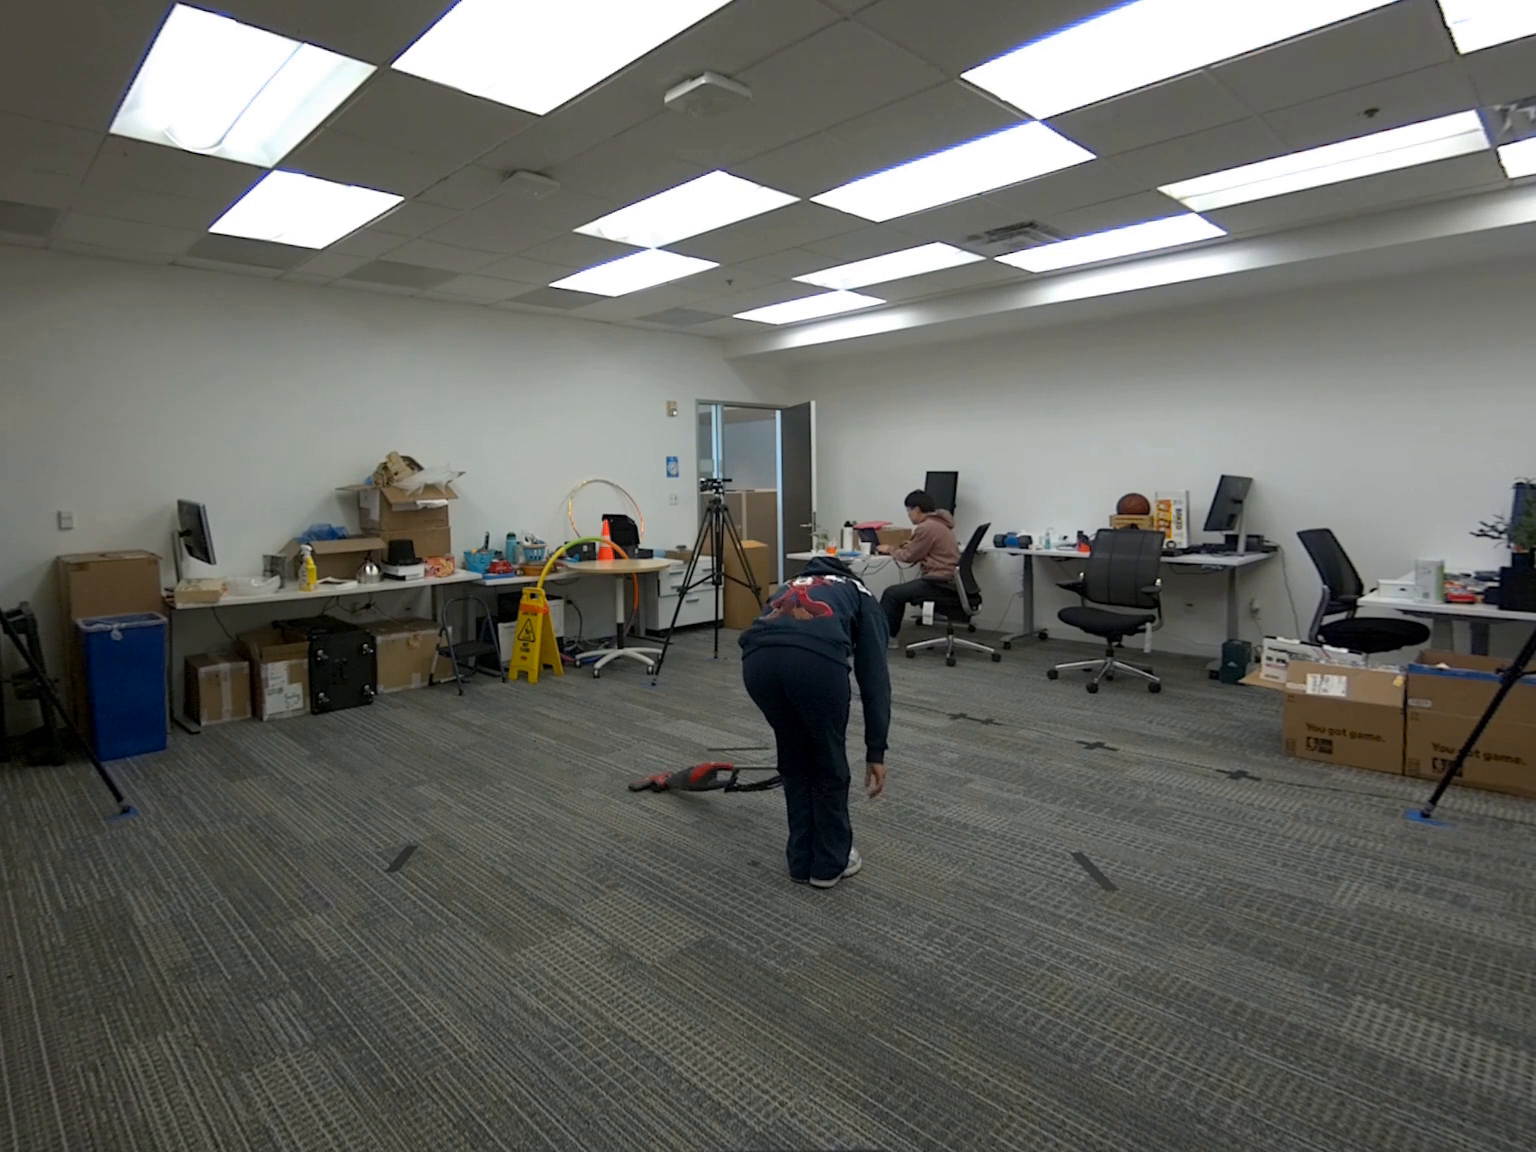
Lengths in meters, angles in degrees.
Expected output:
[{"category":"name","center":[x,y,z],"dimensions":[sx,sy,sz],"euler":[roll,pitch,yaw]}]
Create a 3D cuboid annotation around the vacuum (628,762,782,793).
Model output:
[{"category":"vacuum","center":[-0.145,0.853,3.556],"dimensions":[1.073,0.144,0.246],"euler":[-10,0,44]}]
